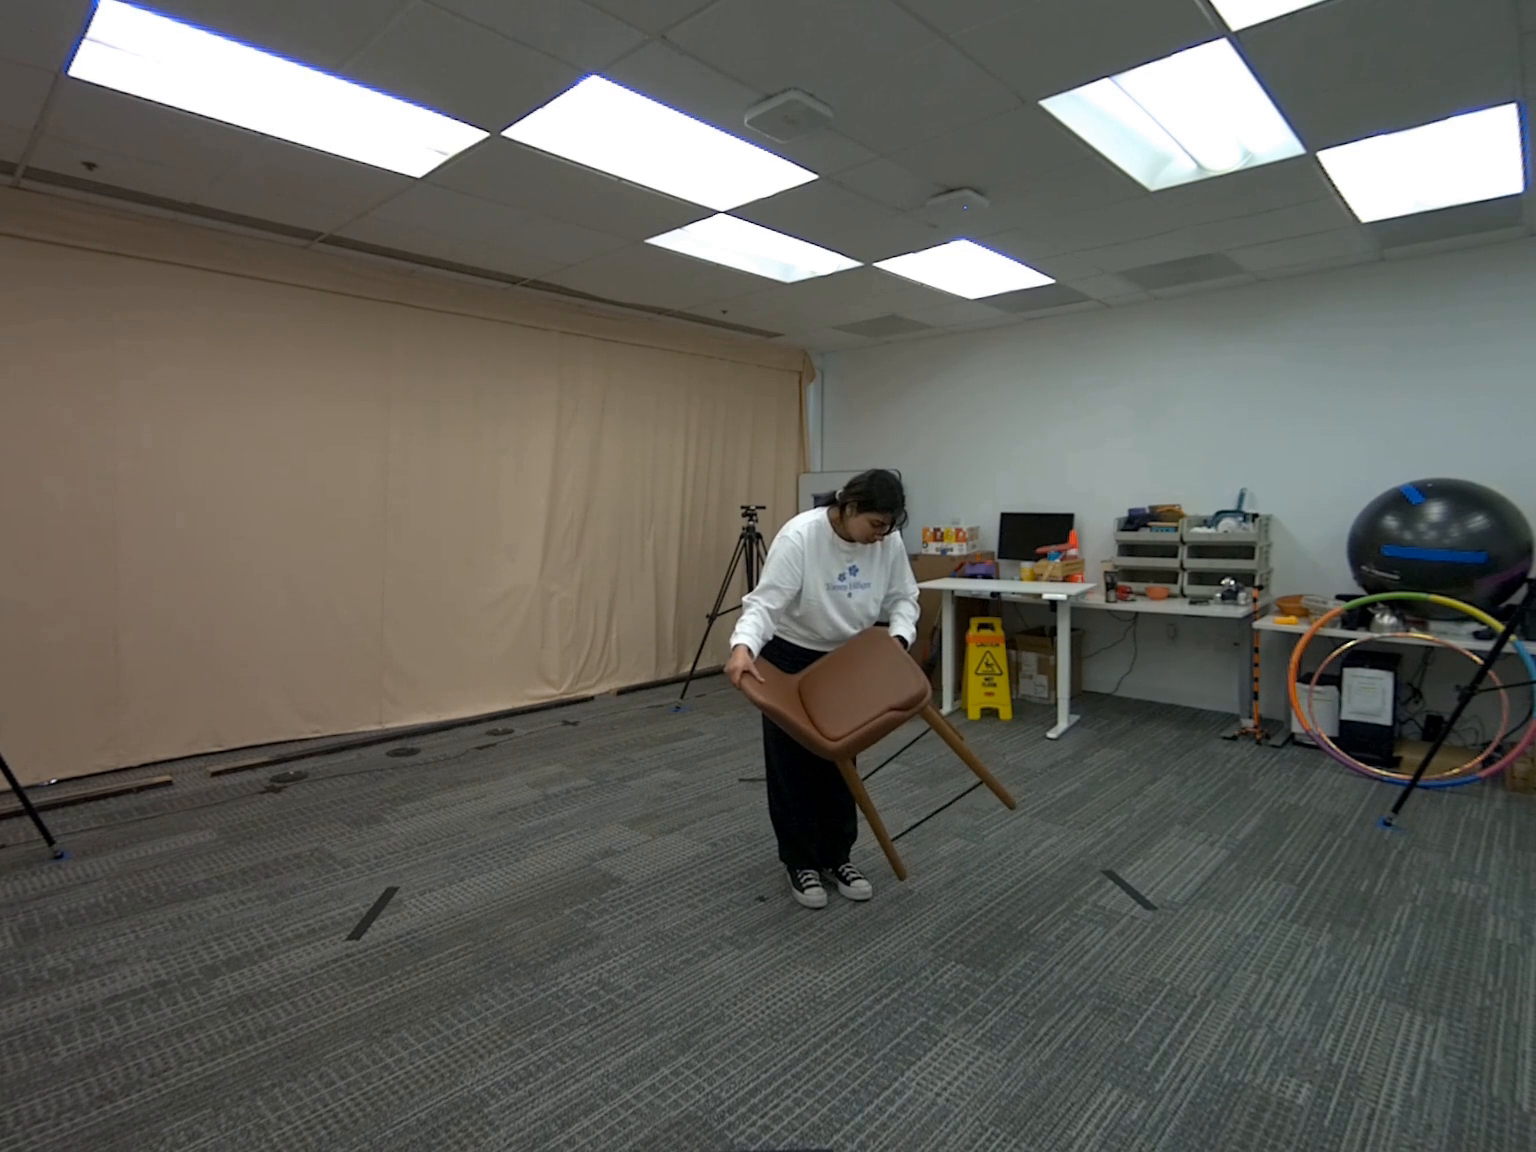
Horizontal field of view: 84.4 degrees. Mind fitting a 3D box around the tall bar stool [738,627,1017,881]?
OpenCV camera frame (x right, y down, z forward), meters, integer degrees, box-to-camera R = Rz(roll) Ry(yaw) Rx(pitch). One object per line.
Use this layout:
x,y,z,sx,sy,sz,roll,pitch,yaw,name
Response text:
0.349,0.483,2.716,0.468,0.868,0.467,-36,23,3,tall bar stool
